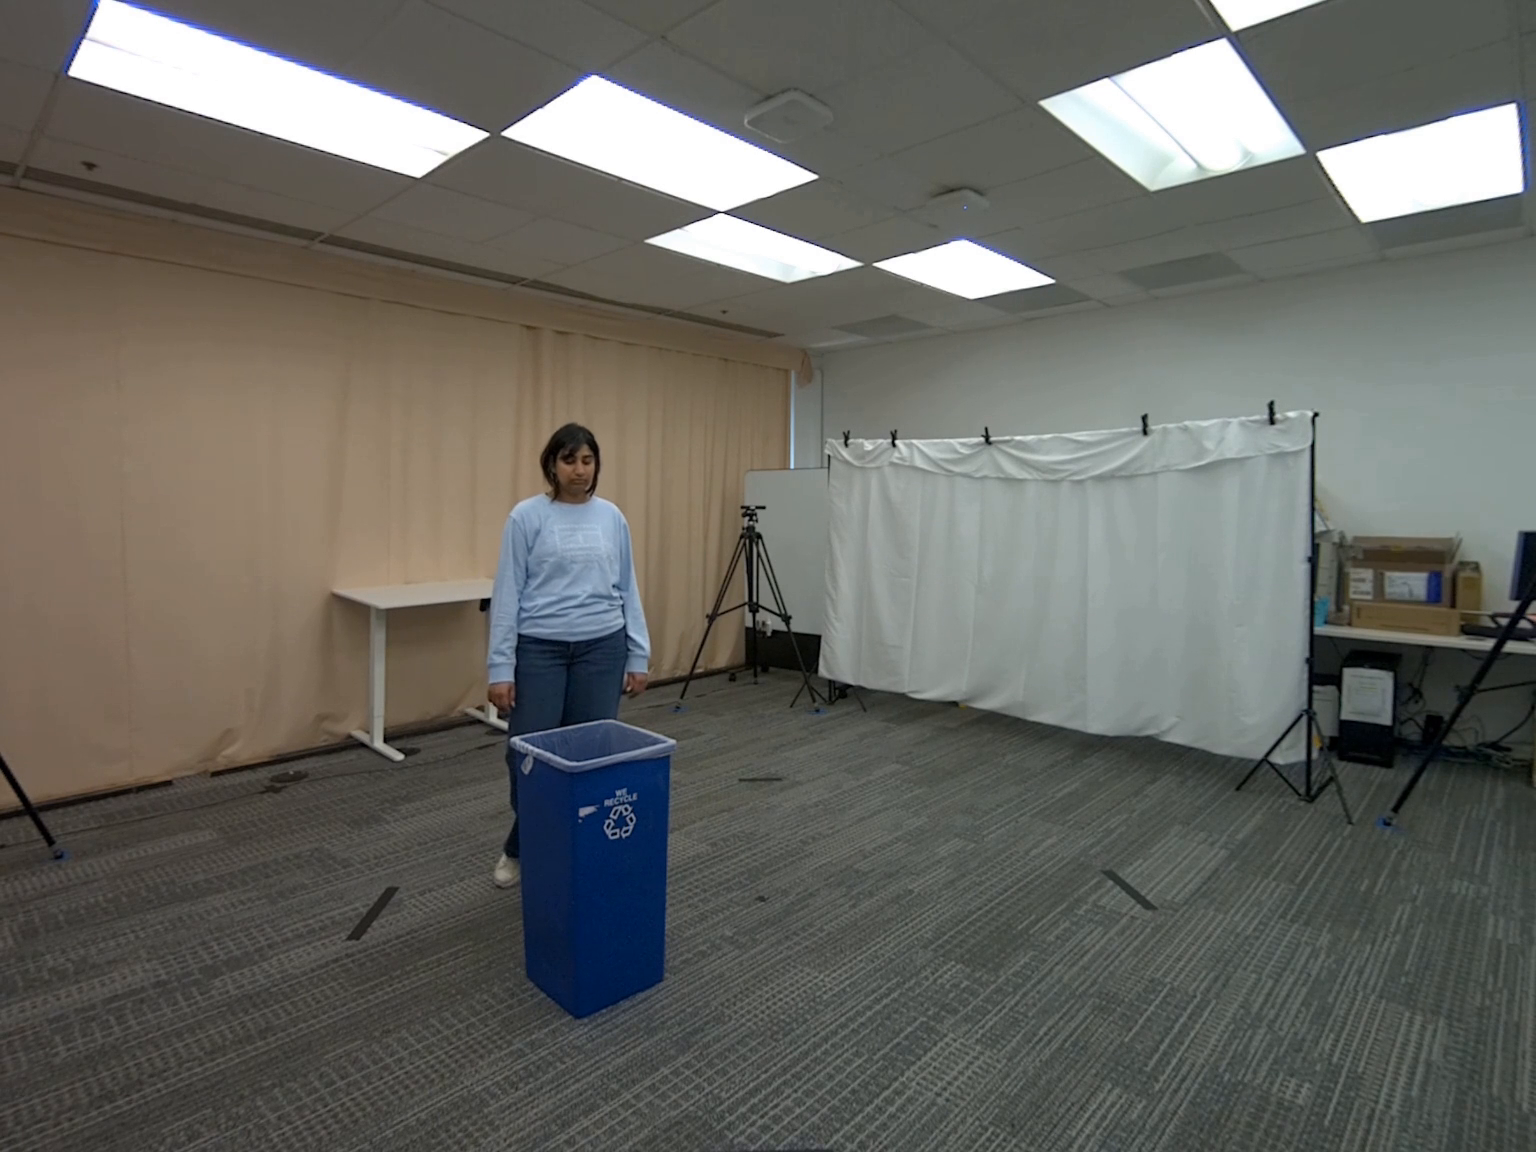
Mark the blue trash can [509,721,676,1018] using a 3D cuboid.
[{"bbox_3d":[-0.501,0.834,2.469,0.366,0.713,0.386,-2,3,-43],"label":"blue trash can"}]
